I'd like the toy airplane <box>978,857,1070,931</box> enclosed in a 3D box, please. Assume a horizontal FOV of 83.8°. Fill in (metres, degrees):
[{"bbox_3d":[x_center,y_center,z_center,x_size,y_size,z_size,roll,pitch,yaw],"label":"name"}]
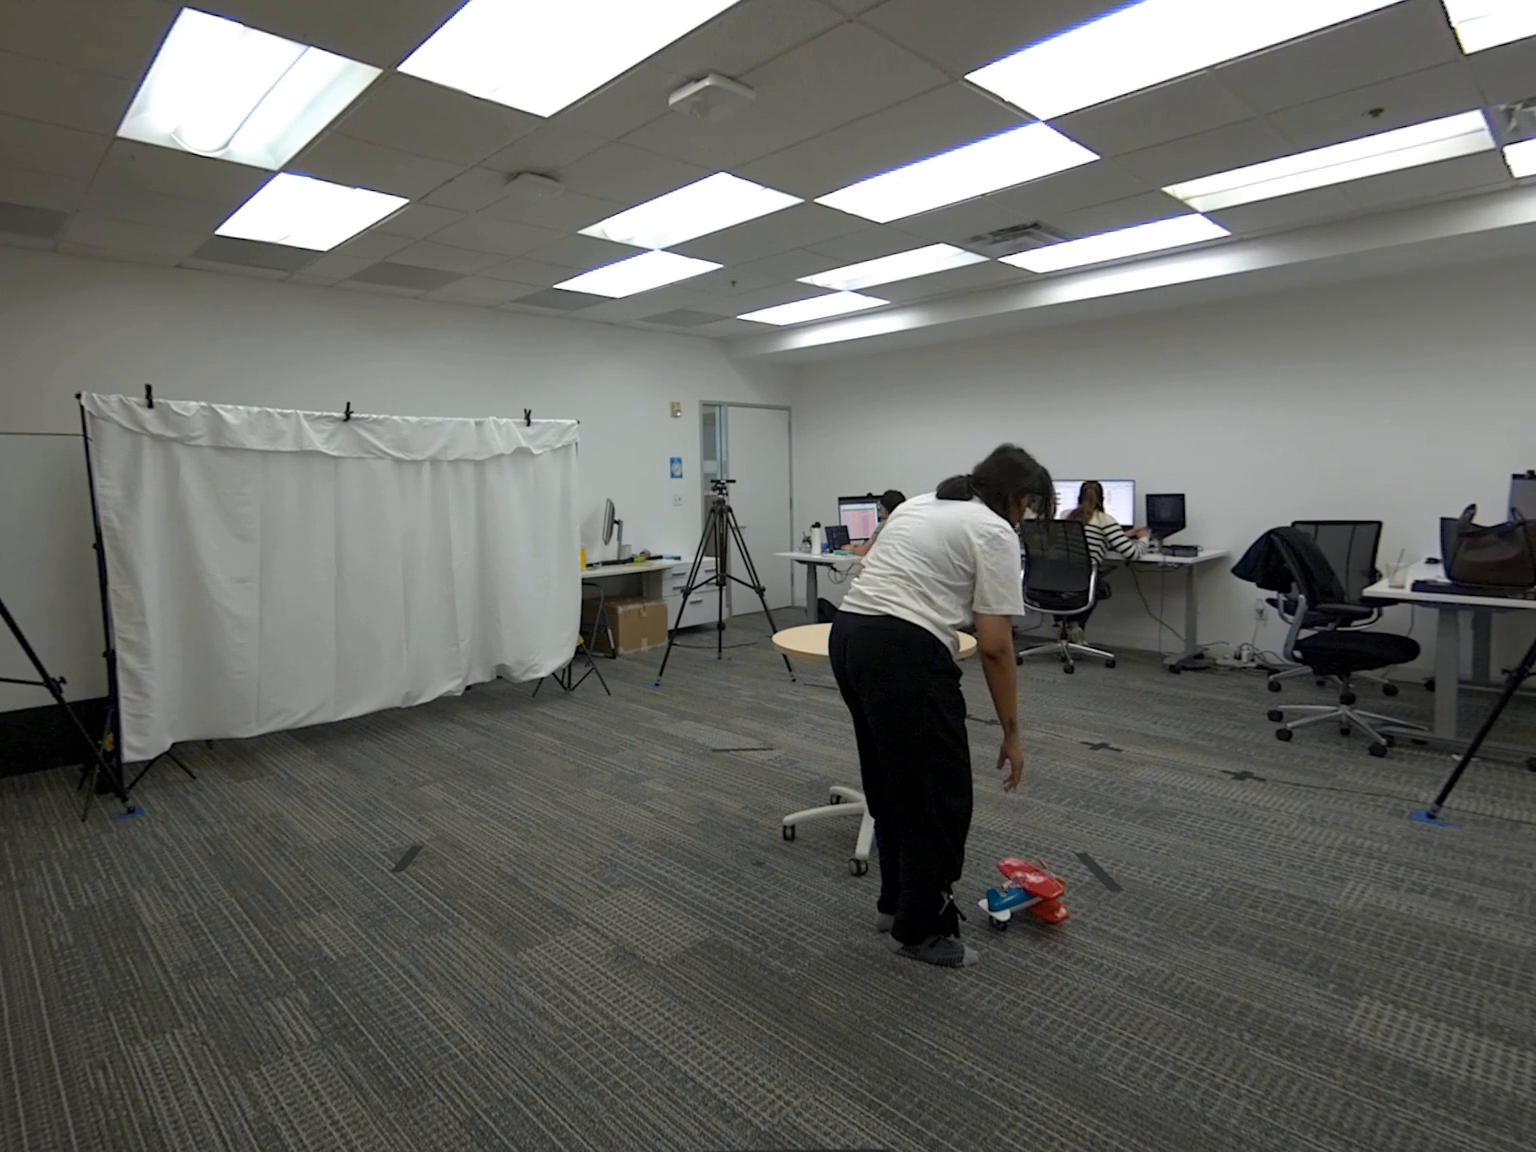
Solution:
[{"bbox_3d":[0.815,1.011,2.651,0.259,0.156,0.252,4,7,40],"label":"toy airplane"}]
